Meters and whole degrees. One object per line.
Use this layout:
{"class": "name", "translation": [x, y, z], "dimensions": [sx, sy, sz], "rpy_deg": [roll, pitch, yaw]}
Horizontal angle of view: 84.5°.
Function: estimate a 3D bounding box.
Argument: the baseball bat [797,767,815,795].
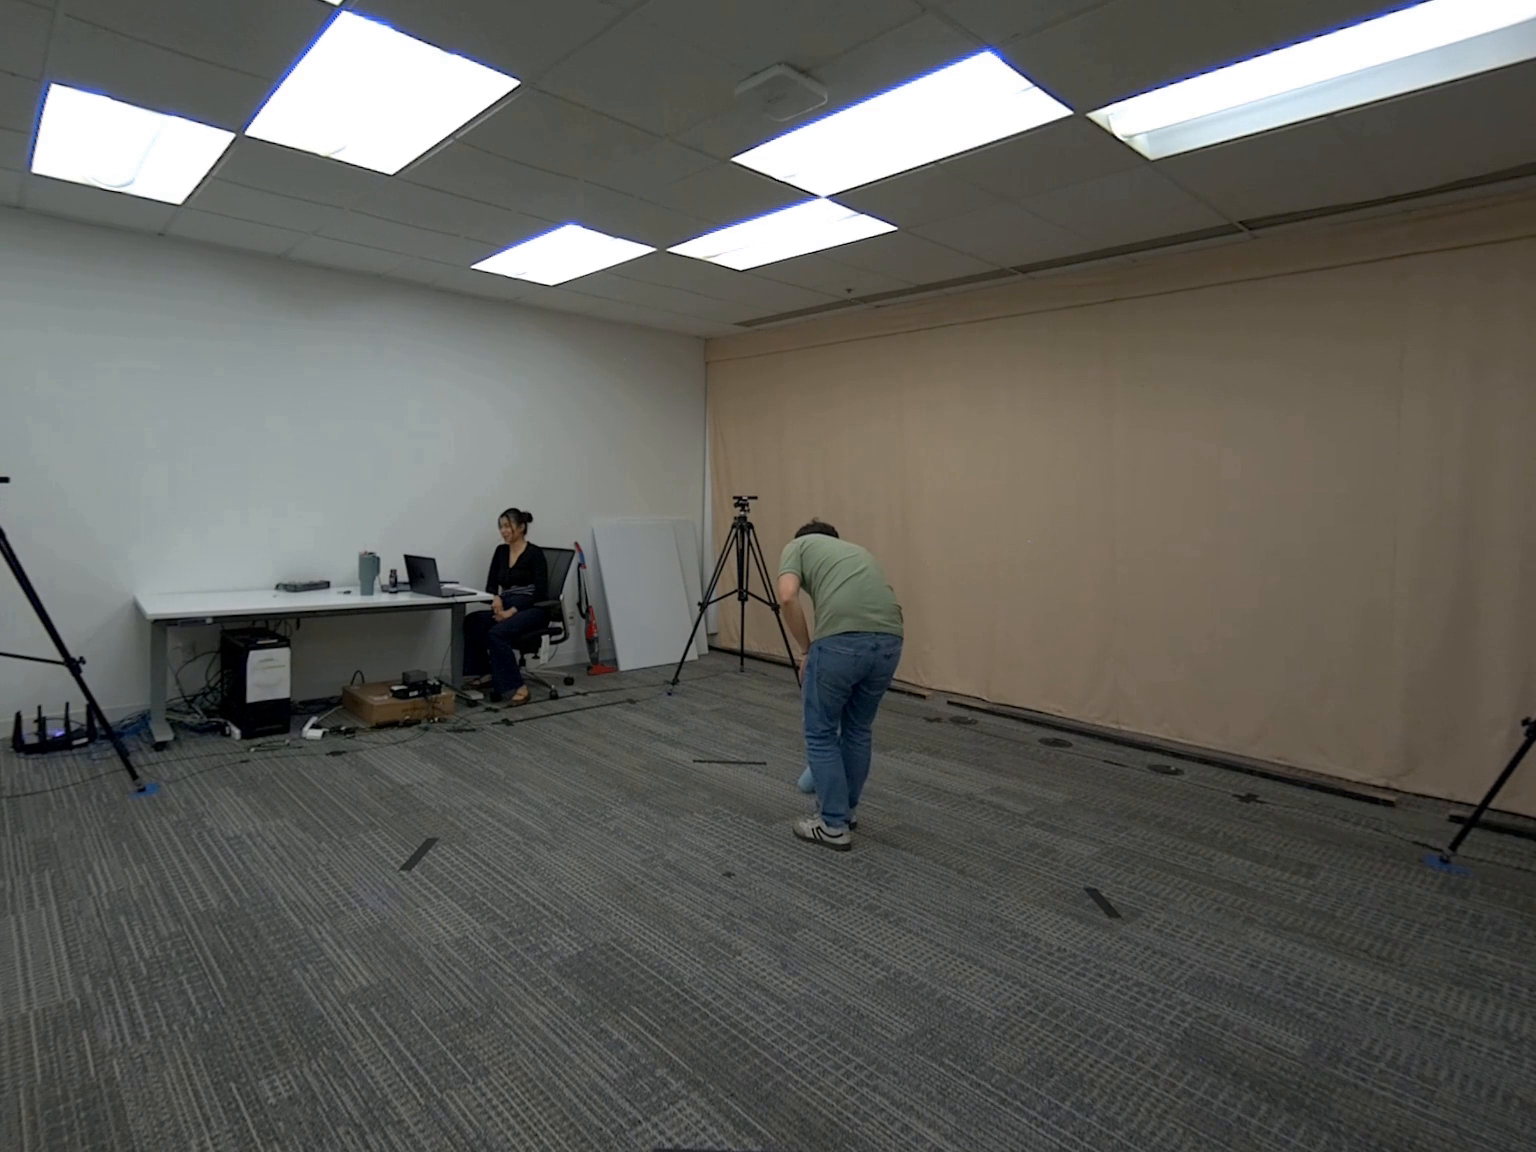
{"class": "baseball bat", "translation": [0.307, 0.805, 3.943], "dimensions": [0.088, 0.541, 0.090], "rpy_deg": [27, 21, -13]}
